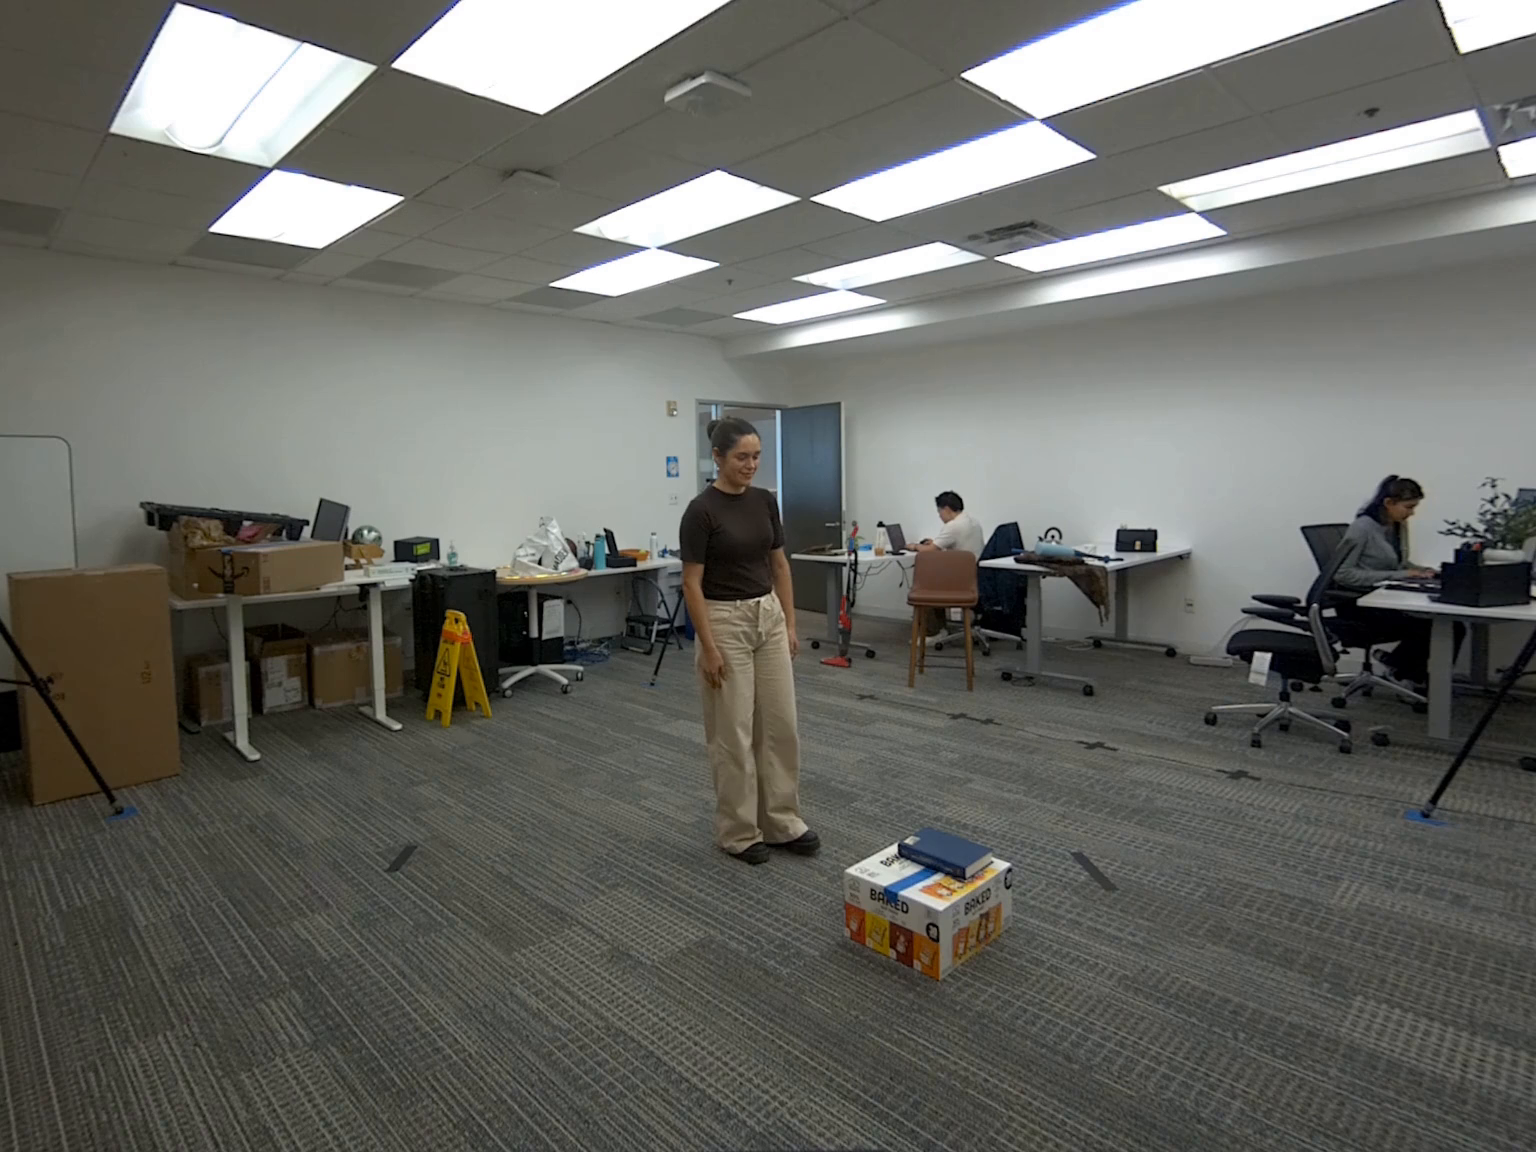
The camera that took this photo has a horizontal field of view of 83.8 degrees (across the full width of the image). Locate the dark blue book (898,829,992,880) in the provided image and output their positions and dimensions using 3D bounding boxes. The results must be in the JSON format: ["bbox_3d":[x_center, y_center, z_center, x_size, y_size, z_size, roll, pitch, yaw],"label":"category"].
[{"bbox_3d":[0.559,0.864,2.666,0.159,0.045,0.253,-11,11,-44],"label":"dark blue book"}]
